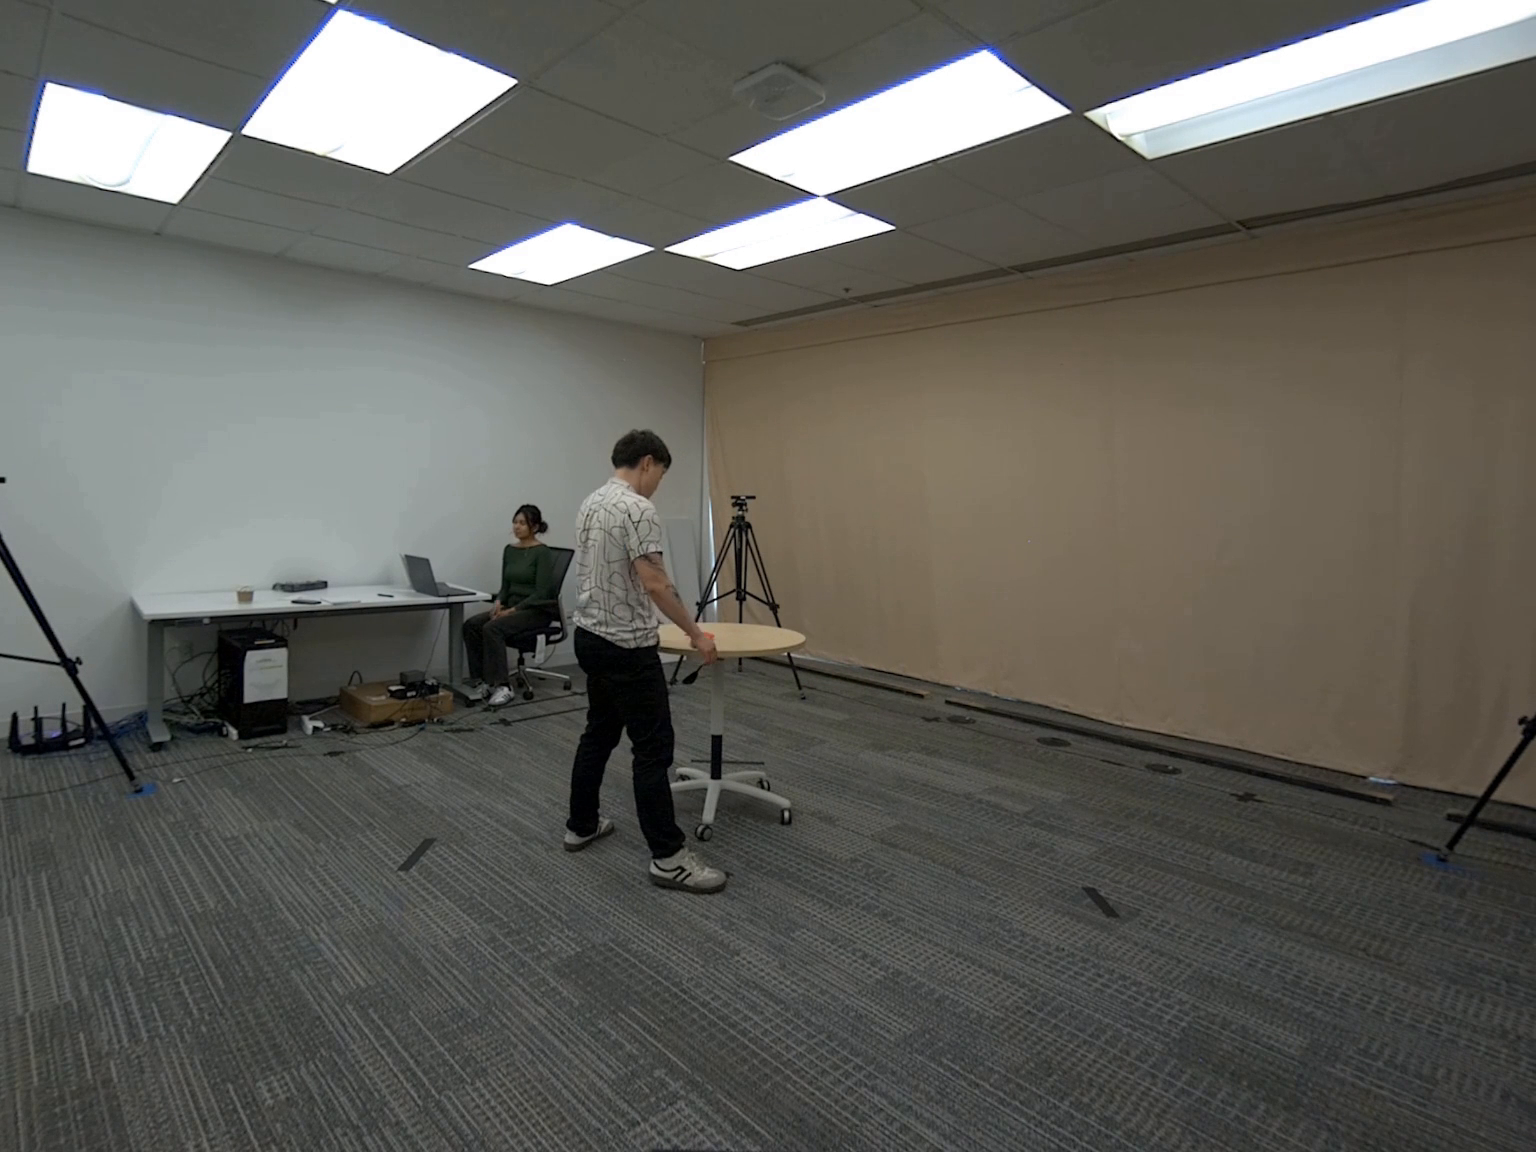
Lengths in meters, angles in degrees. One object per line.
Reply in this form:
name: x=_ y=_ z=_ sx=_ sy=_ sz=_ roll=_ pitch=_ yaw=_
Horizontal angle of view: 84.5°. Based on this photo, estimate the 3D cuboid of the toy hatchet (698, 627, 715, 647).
toy hatchet: x=-0.279 y=0.268 z=3.521 sx=0.130 sy=0.029 sz=0.274 roll=3 pitch=6 yaw=-14
